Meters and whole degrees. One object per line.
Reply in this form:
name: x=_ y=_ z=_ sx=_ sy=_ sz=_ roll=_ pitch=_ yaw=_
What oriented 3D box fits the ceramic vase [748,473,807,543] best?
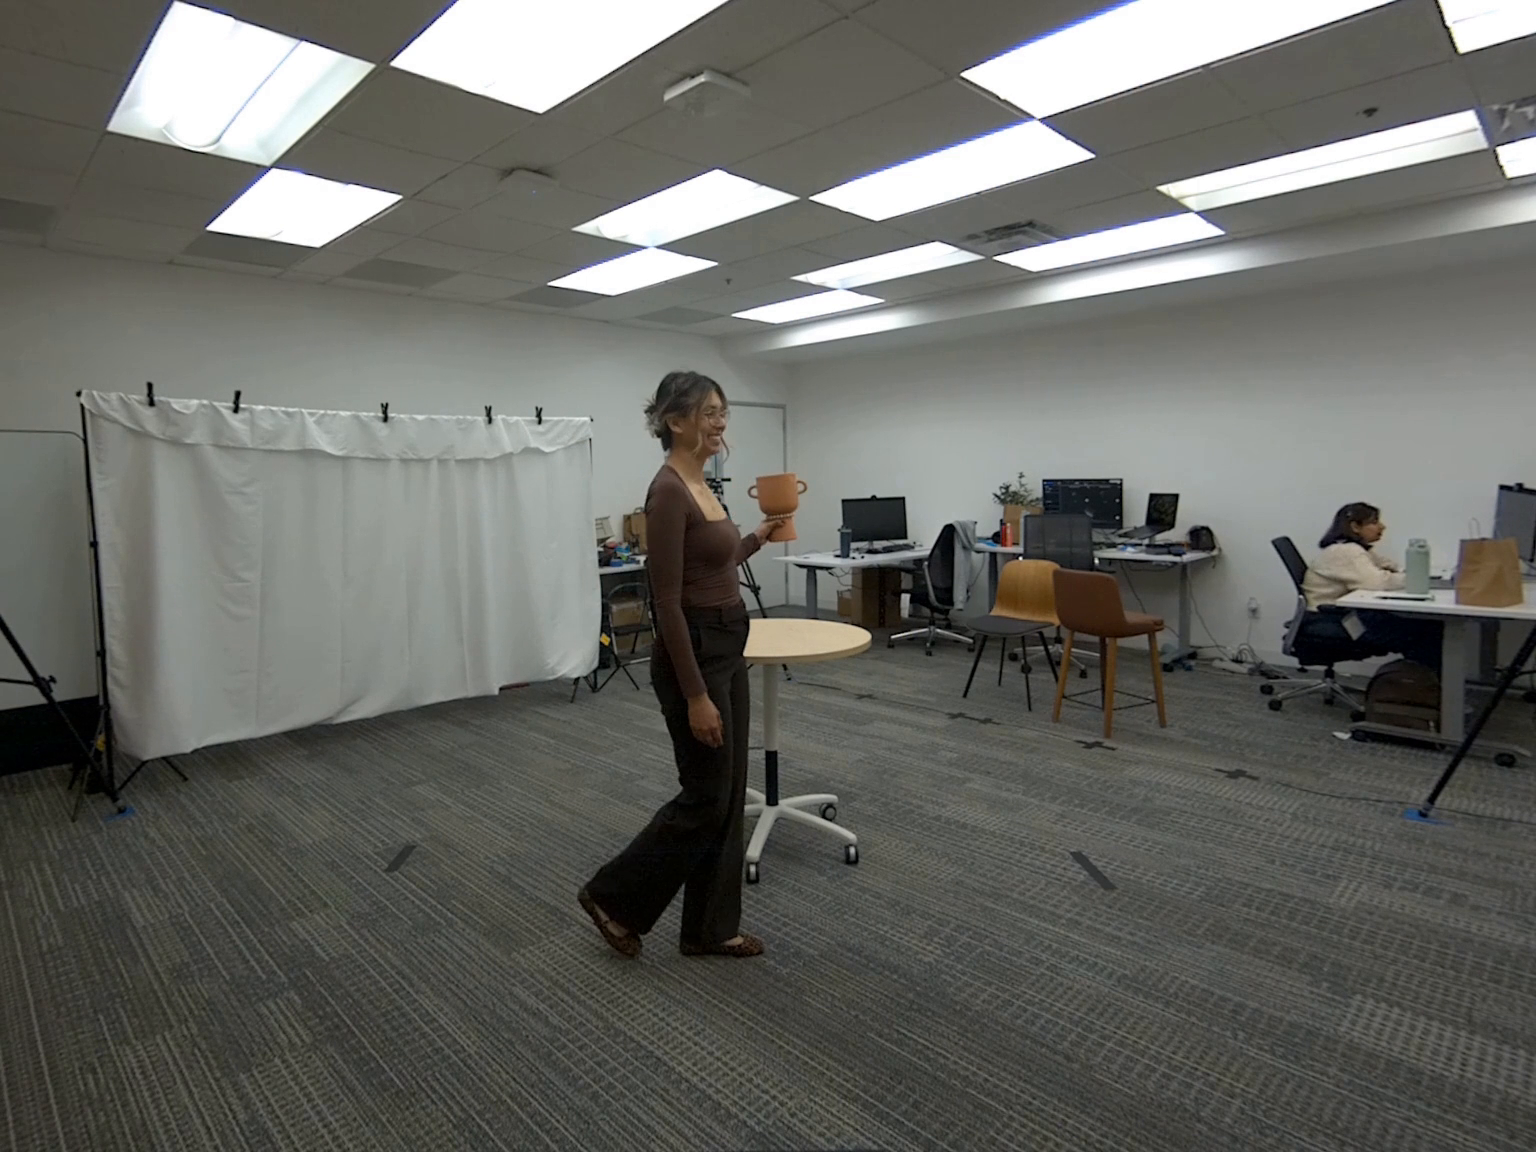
ceramic vase: x=0.035 y=-0.228 z=2.836 sx=0.131 sy=0.219 sz=0.163 roll=-7 pitch=6 yaw=-44
